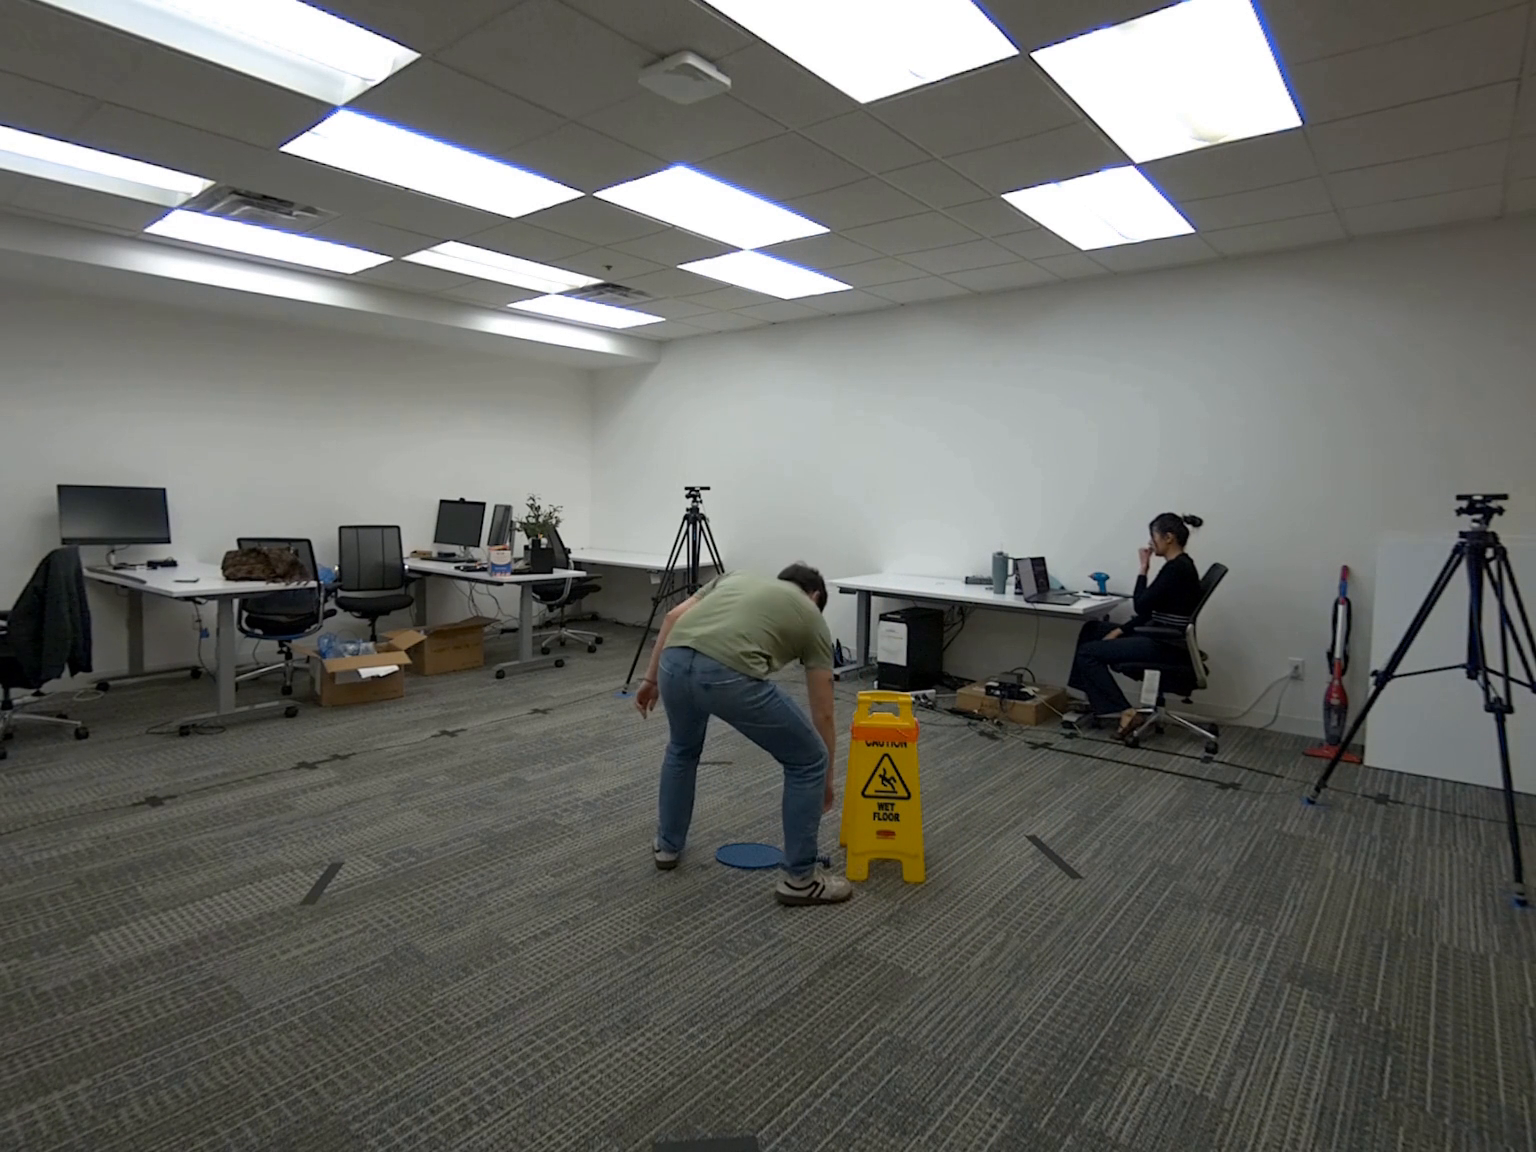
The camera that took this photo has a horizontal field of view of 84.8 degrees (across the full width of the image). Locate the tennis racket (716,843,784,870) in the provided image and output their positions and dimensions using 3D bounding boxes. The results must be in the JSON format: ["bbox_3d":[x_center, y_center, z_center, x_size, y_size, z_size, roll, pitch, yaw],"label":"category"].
[{"bbox_3d":[0.004,1.054,3.177,0.438,0.031,0.212,0,6,10],"label":"tennis racket"}]
